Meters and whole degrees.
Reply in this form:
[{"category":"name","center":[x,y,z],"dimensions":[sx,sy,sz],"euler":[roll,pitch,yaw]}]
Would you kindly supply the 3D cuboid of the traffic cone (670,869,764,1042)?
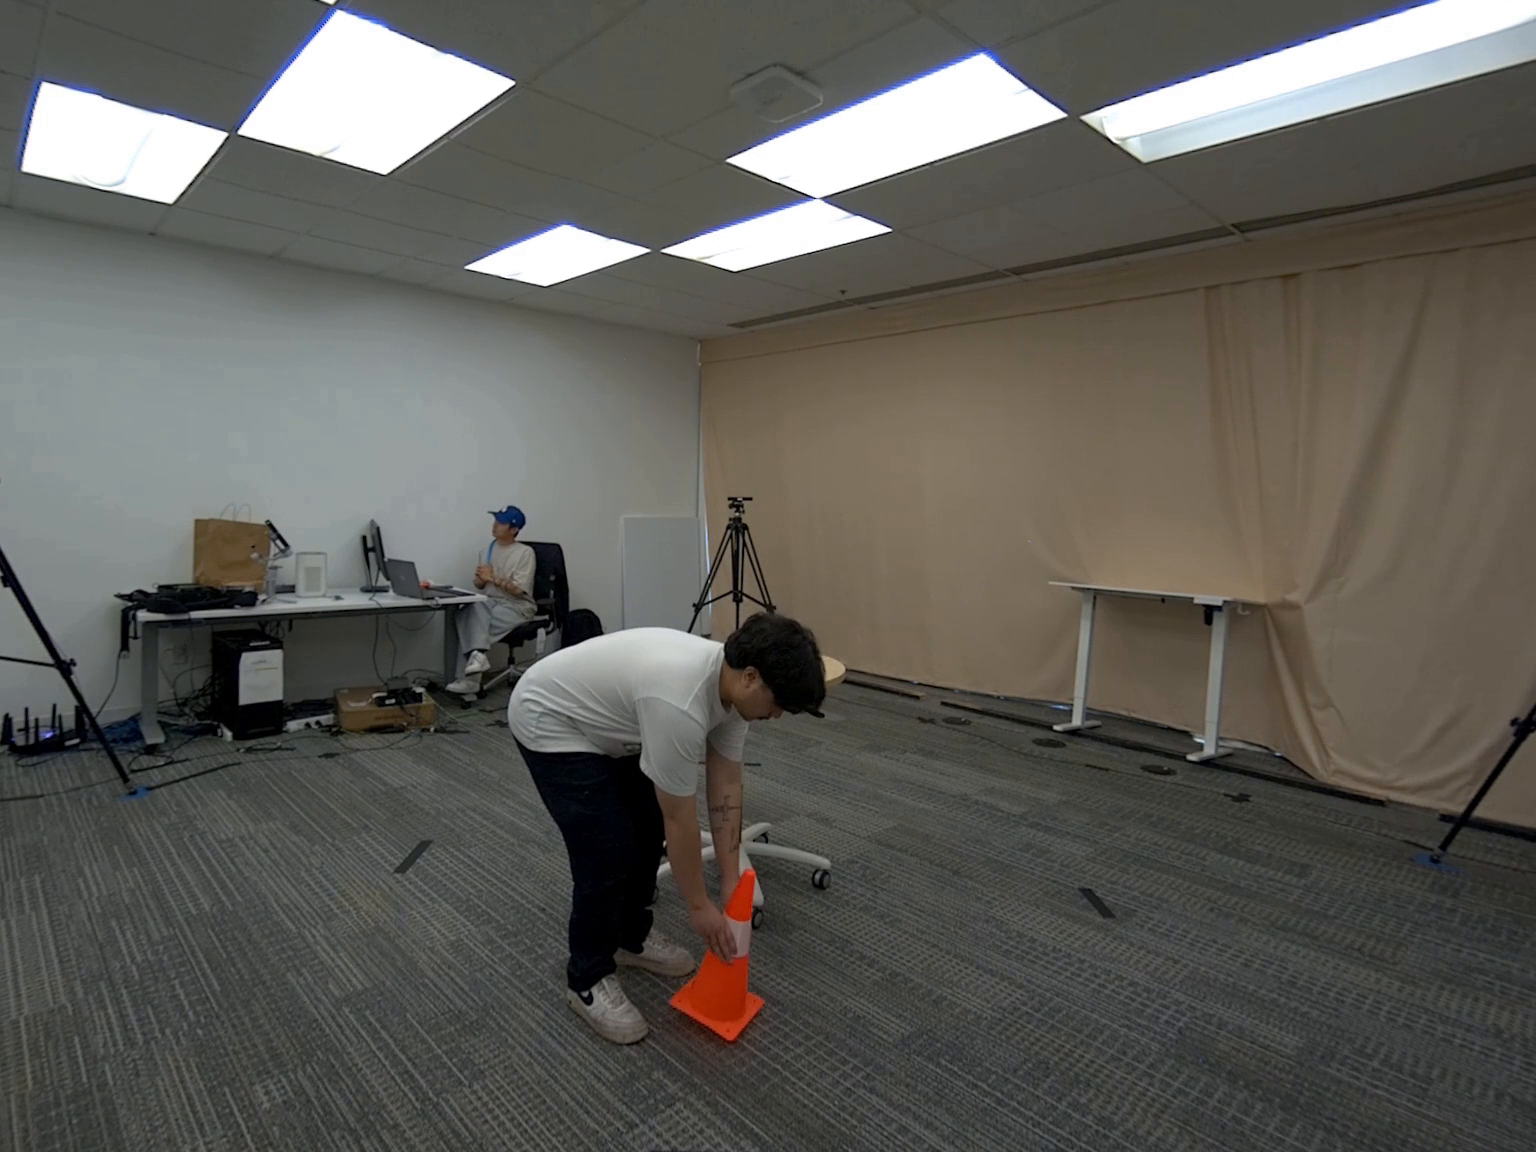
[{"category":"traffic cone","center":[-0.103,0.963,2.225],"dimensions":[0.210,0.382,0.199],"euler":[15,7,26]}]
